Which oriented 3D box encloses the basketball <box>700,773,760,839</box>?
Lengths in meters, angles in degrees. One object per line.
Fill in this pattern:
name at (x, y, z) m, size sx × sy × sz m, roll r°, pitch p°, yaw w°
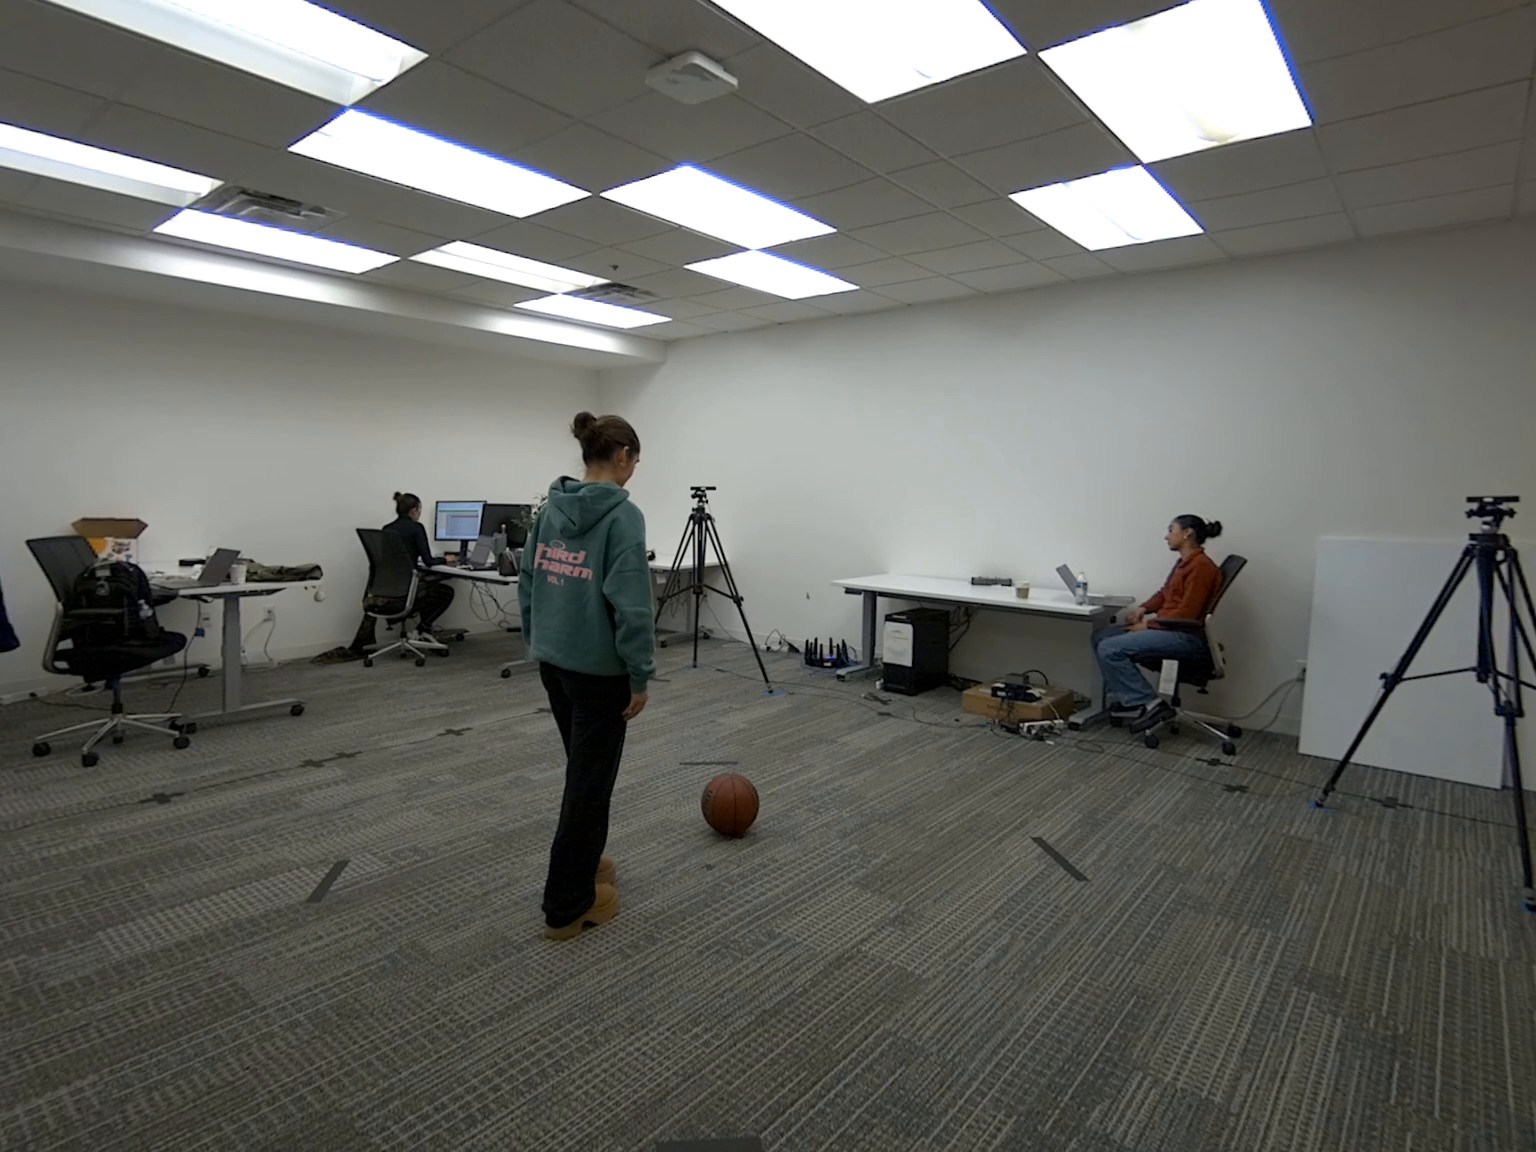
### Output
basketball at (-0.162, 0.913, 3.437) m, size 0.235 × 0.235 × 0.237 m, roll 1°, pitch 4°, yaw -2°
